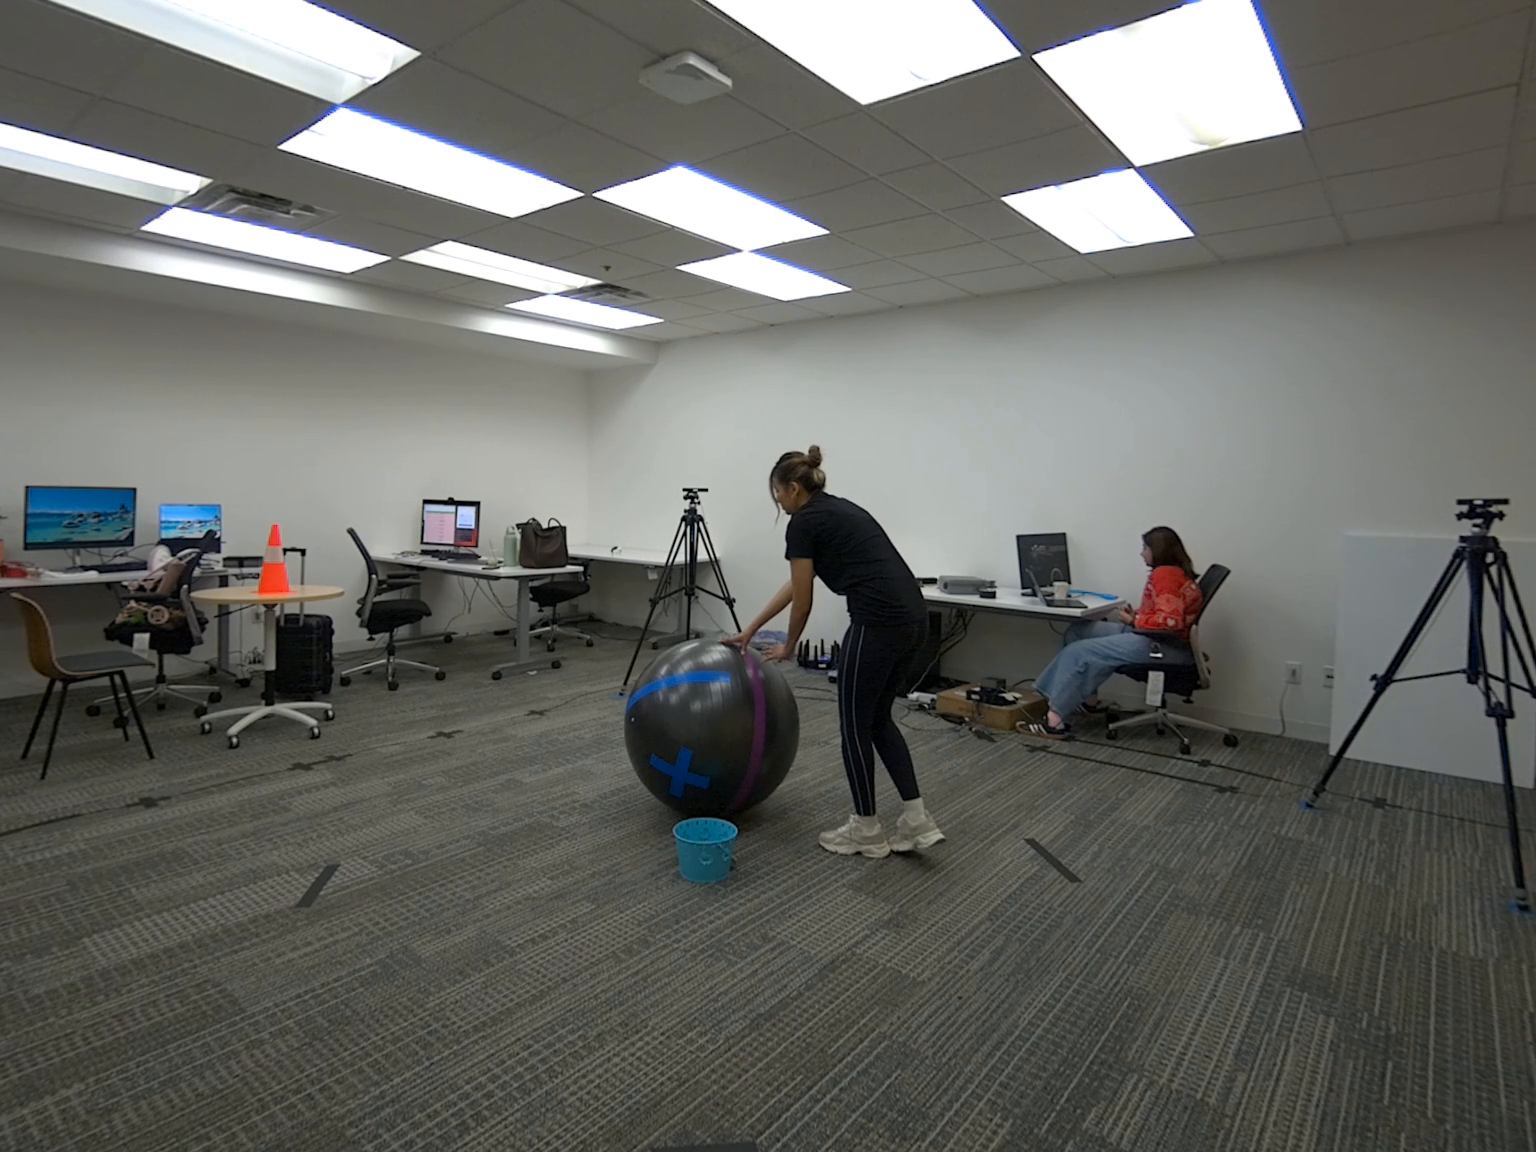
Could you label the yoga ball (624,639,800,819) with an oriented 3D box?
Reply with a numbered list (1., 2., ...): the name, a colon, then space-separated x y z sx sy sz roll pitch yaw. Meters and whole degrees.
1. yoga ball: -0.249 0.647 3.668 0.757 0.755 0.762 1 4 -2
